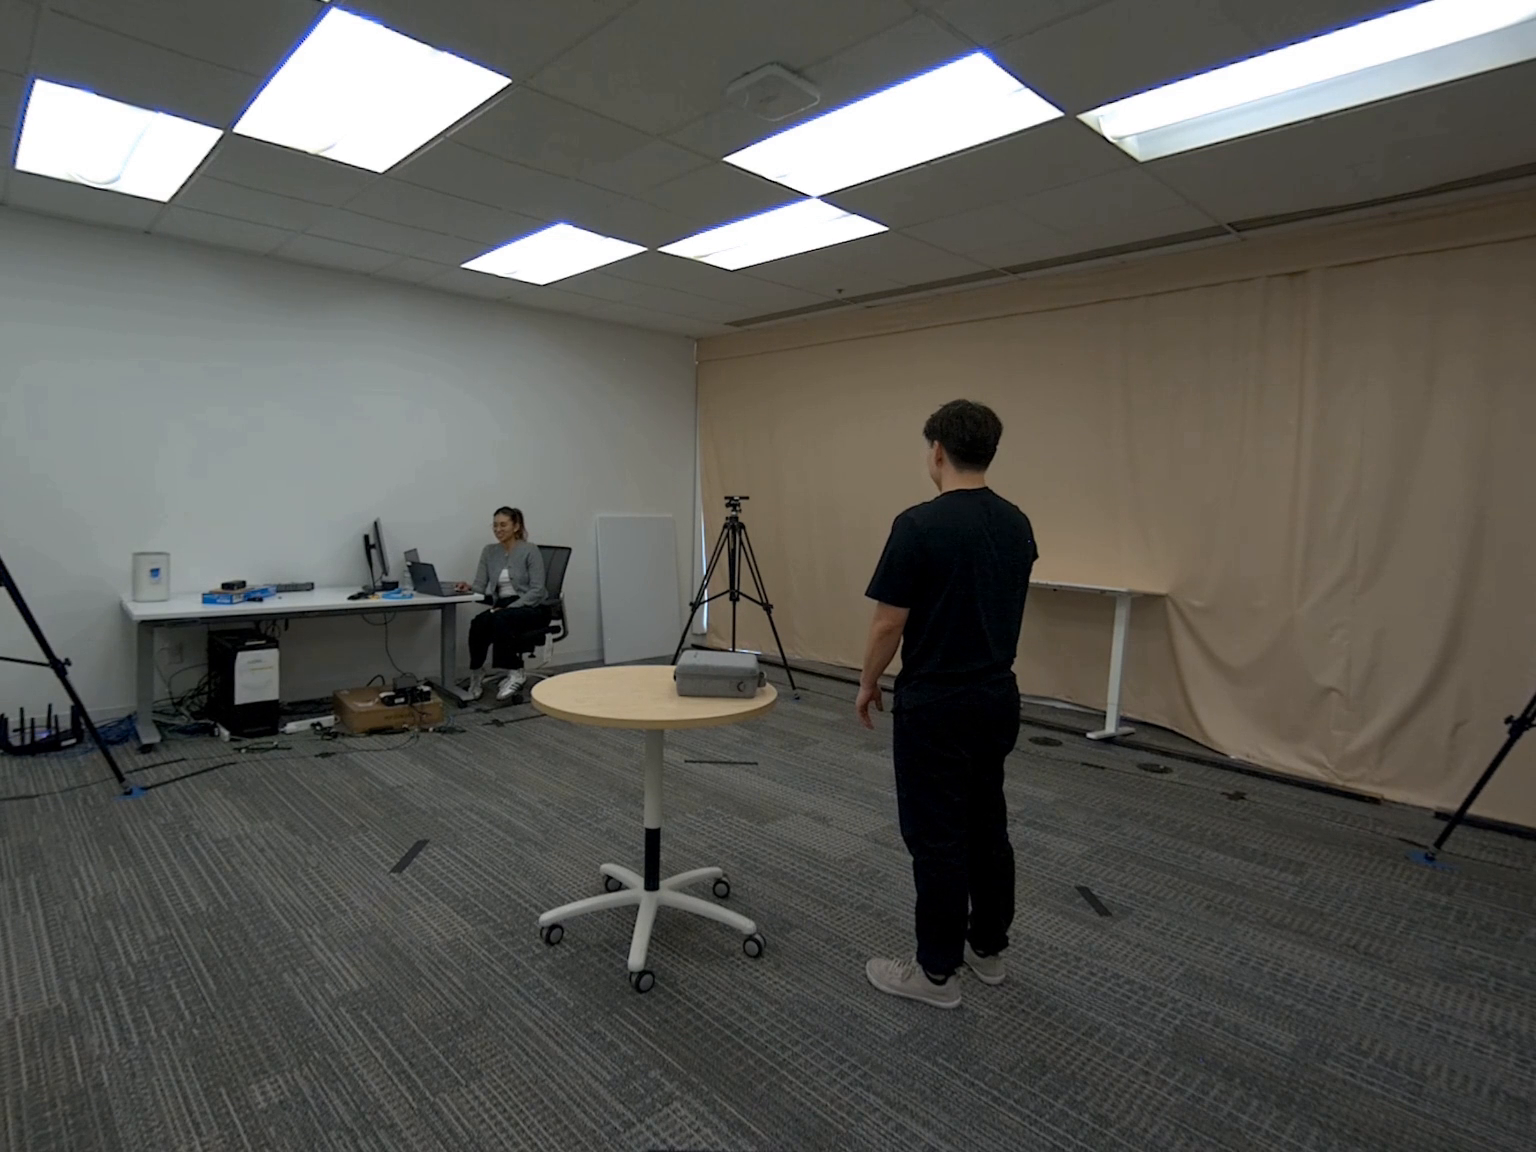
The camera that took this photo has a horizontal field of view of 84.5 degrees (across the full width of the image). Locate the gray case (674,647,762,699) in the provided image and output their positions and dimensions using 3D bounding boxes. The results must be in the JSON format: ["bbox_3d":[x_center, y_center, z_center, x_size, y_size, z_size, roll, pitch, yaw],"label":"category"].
[{"bbox_3d":[-0.175,0.306,2.665,0.261,0.104,0.257,4,4,0],"label":"gray case"}]
